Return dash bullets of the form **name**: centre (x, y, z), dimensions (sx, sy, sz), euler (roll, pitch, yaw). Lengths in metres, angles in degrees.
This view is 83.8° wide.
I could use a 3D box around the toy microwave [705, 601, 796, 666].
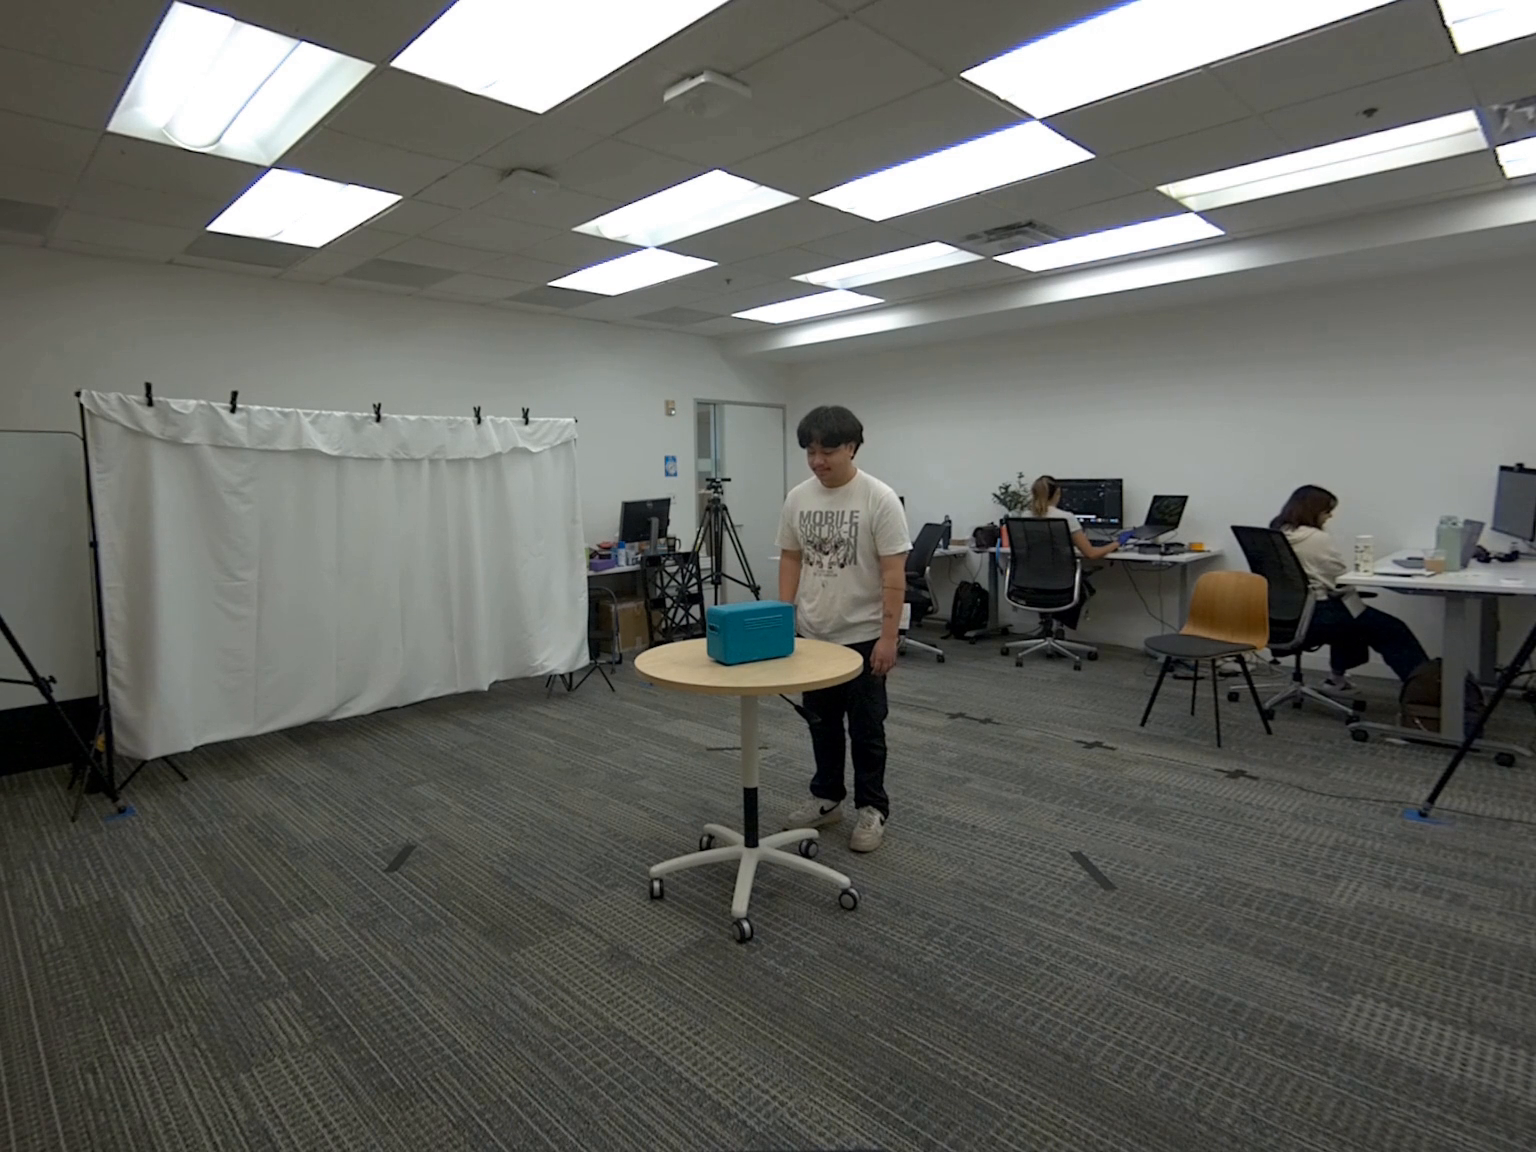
- **toy microwave**: centre (-0.061, 0.184, 2.873), dimensions (0.279, 0.183, 0.157), euler (-5, 7, -31)
